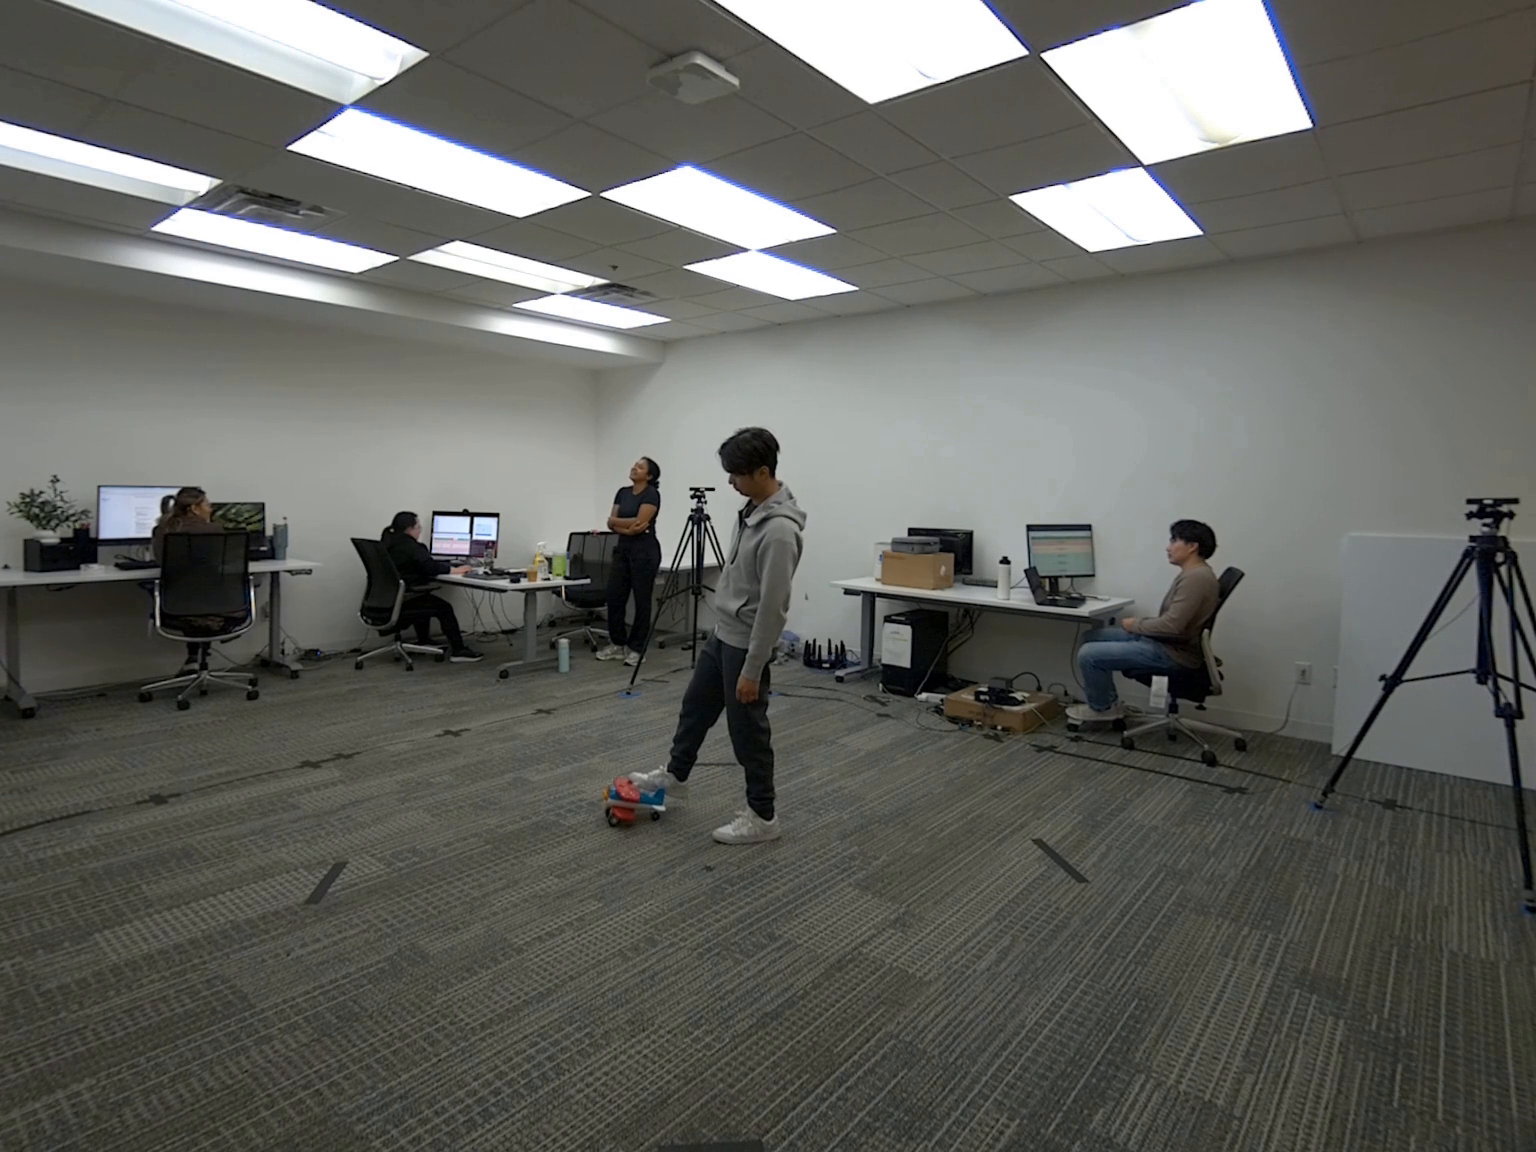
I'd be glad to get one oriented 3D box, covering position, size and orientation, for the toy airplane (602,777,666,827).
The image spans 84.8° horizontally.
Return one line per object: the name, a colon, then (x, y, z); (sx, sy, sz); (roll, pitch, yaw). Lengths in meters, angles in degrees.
toy airplane: (-0.578, 0.943, 3.563); (0.251, 0.156, 0.259); (-5, 6, -43)
